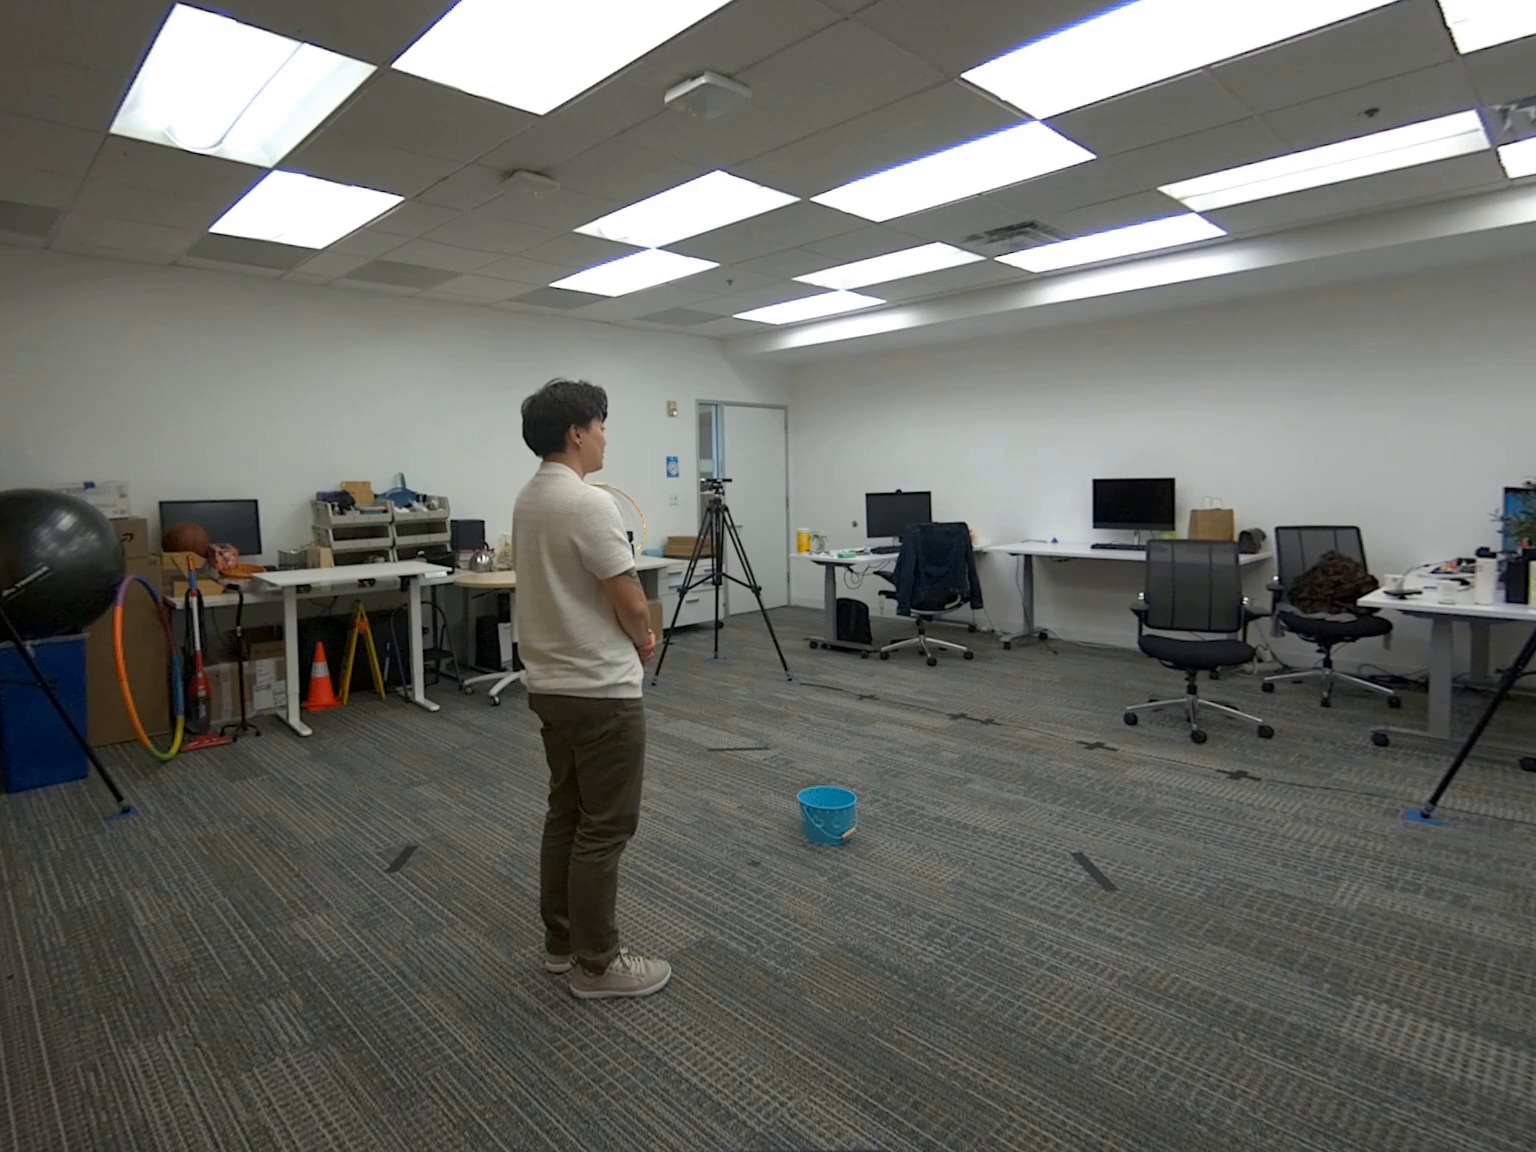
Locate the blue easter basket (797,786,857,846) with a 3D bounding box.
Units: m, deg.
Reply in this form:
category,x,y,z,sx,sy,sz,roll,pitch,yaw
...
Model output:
category,x,y,z,sx,sy,sz,roll,pitch,yaw
blue easter basket,0.233,0.934,3.336,0.243,0.155,0.245,-1,5,-2
